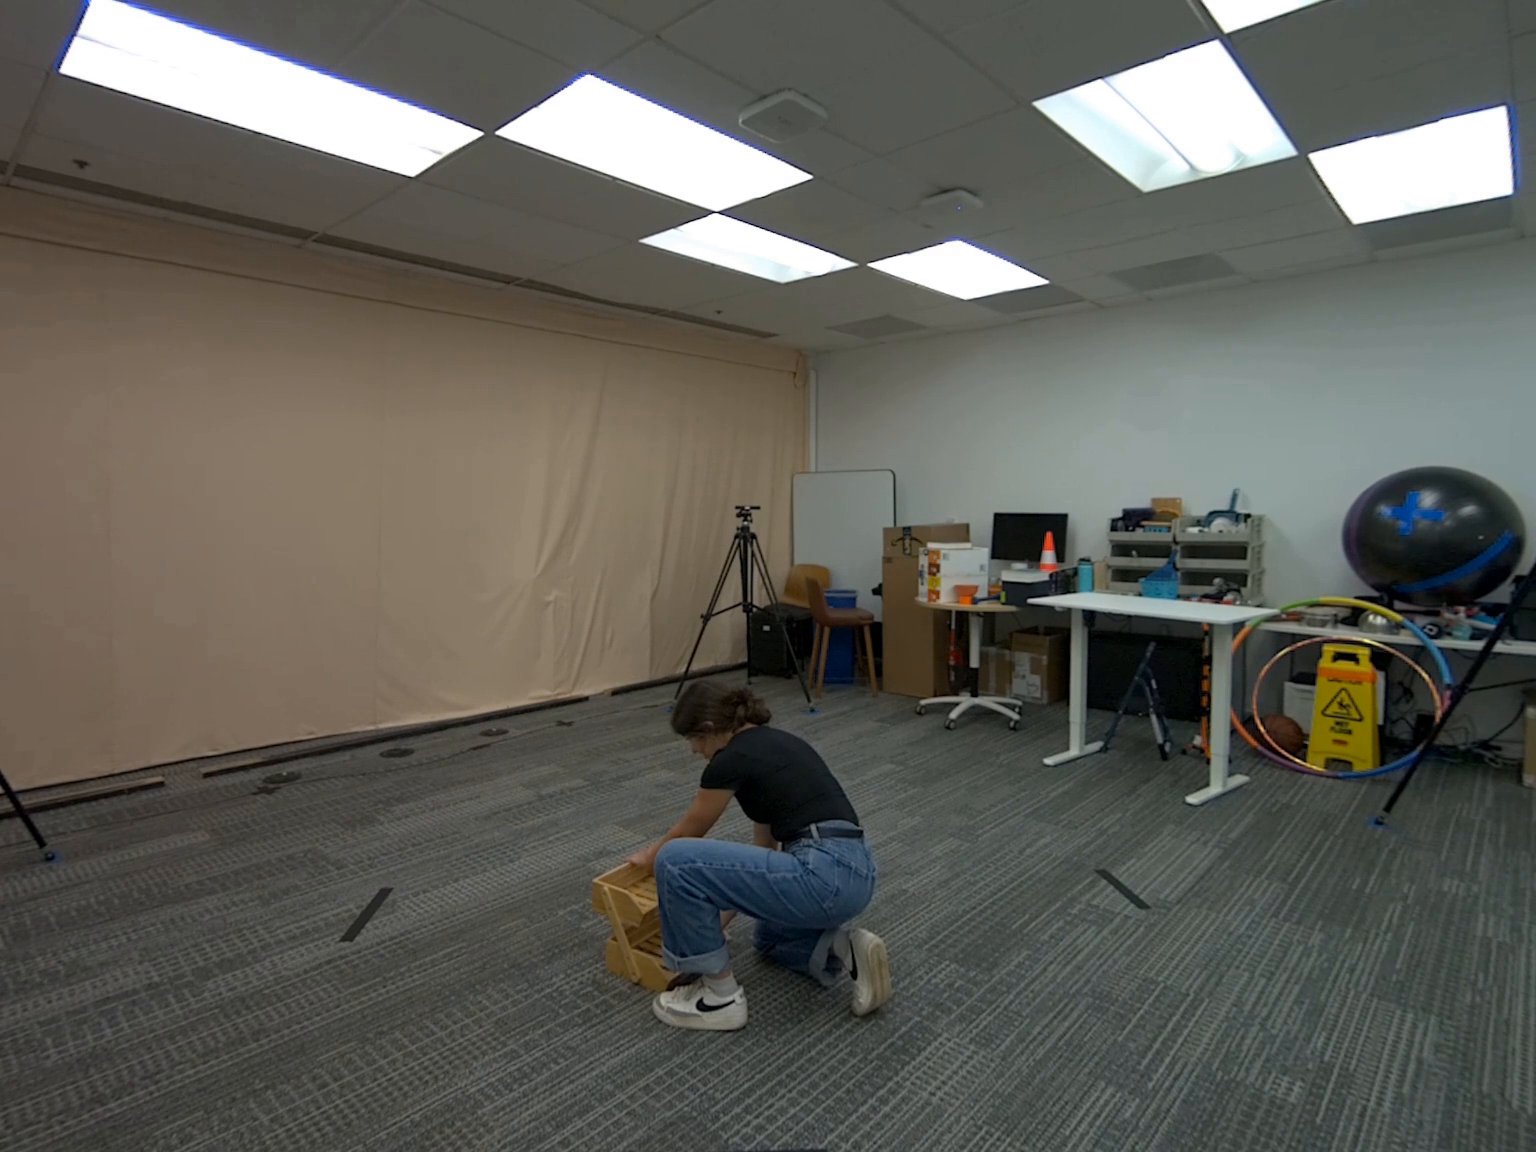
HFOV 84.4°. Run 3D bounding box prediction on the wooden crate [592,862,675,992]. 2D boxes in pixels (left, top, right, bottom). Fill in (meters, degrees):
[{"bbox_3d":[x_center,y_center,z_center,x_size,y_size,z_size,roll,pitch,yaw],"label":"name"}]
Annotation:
[{"bbox_3d":[-0.322,1.044,2.588,0.311,0.273,0.315,3,4,35],"label":"wooden crate"}]
